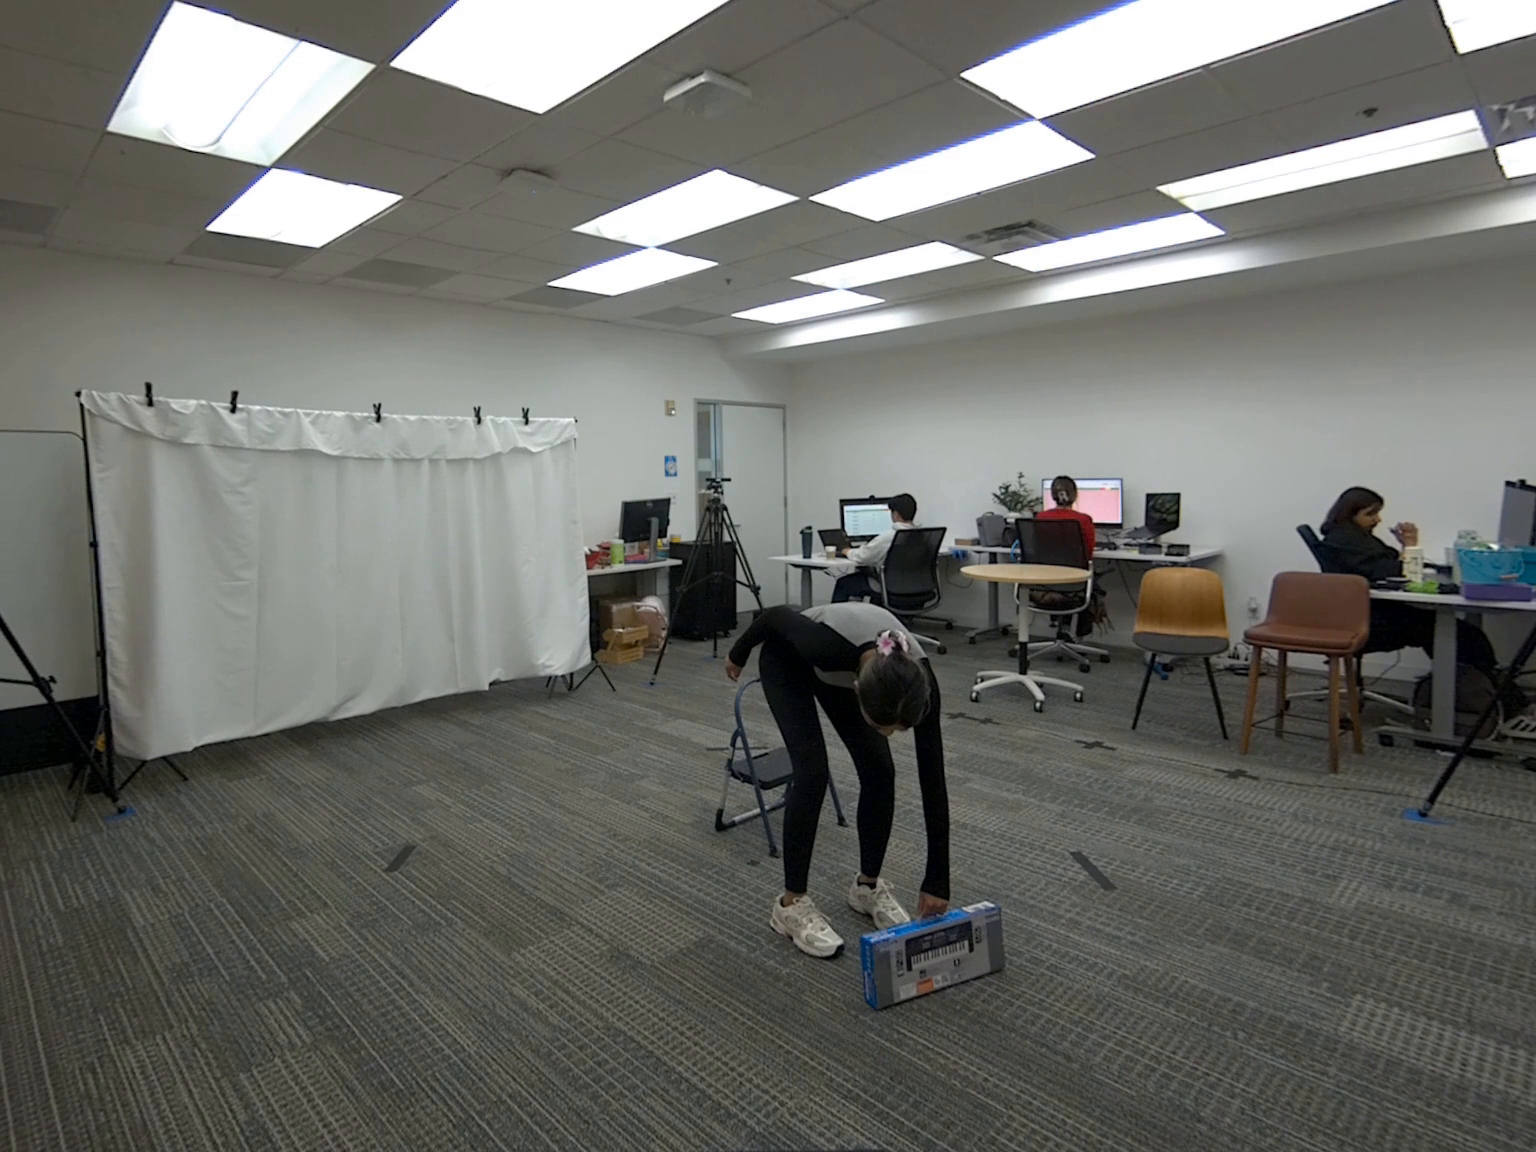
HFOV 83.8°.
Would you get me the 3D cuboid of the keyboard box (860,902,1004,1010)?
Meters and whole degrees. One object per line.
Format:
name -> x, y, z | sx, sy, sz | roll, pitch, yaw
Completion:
keyboard box -> 0.460, 1.032, 2.349 | 0.428, 0.176, 0.060 | -4, -2, -25
